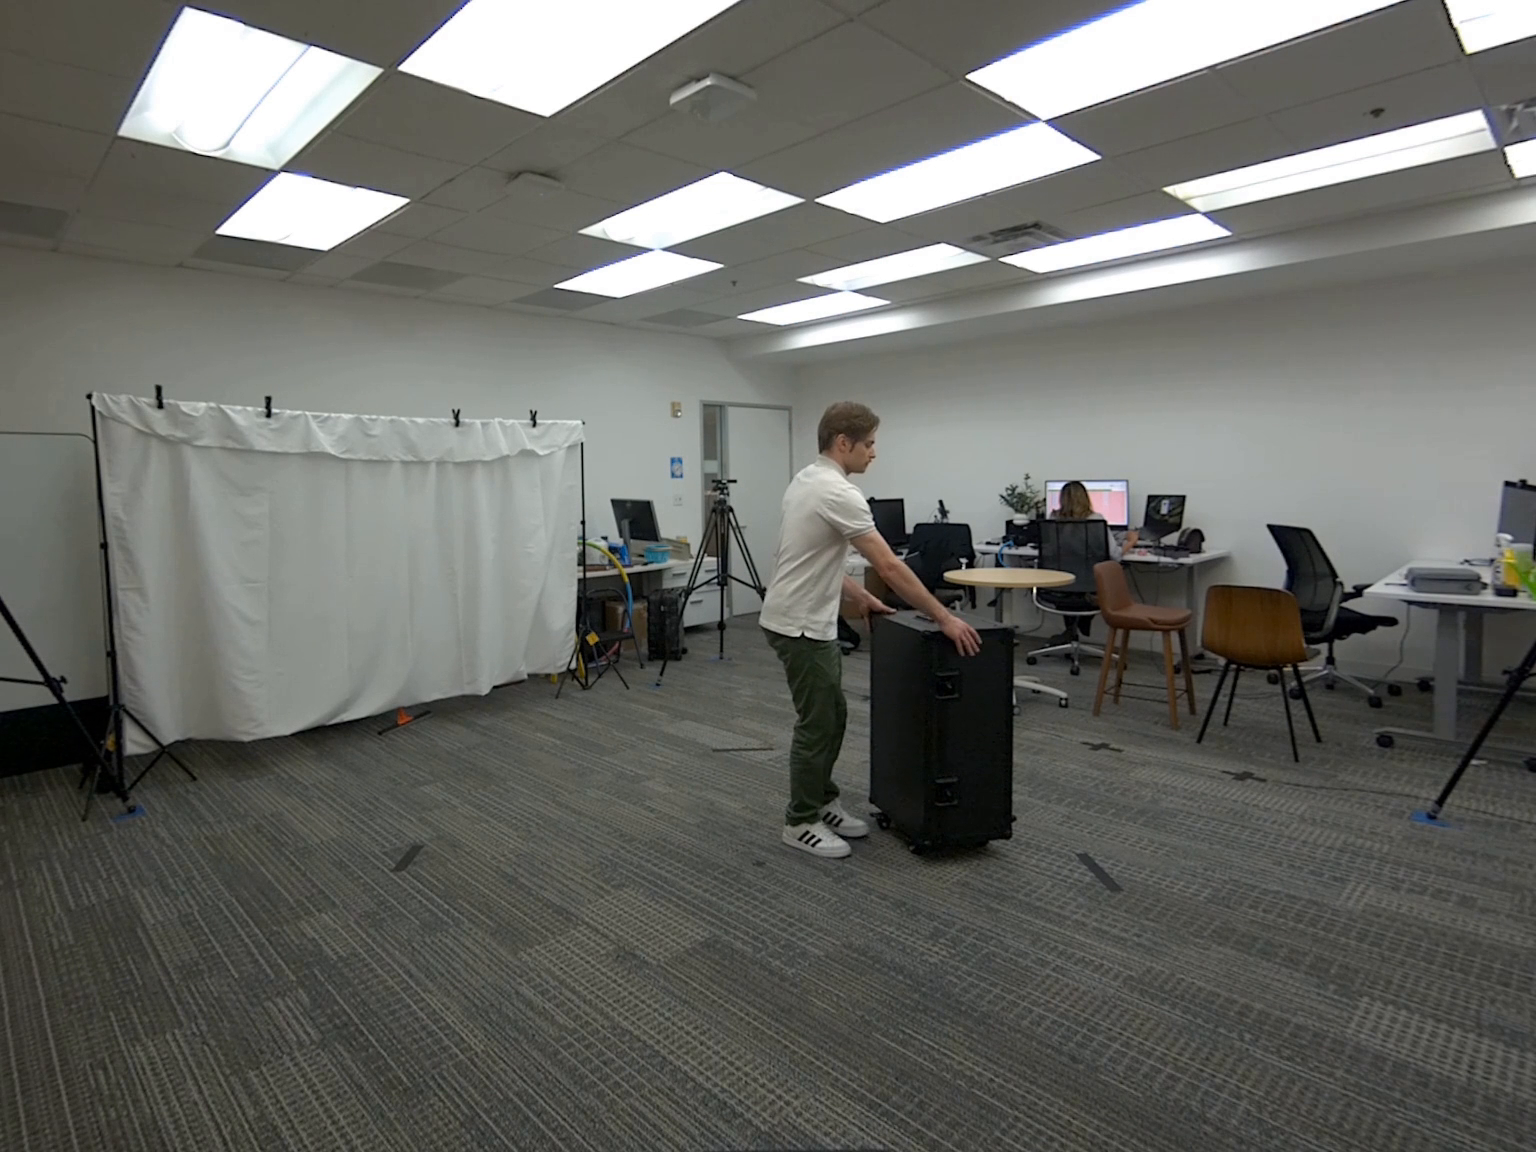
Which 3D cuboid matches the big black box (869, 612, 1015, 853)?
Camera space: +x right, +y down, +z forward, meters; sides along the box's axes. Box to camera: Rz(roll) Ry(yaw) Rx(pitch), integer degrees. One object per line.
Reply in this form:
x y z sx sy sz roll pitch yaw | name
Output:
0.657 0.585 3.301 0.379 0.866 0.533 -1 4 -17 | big black box
